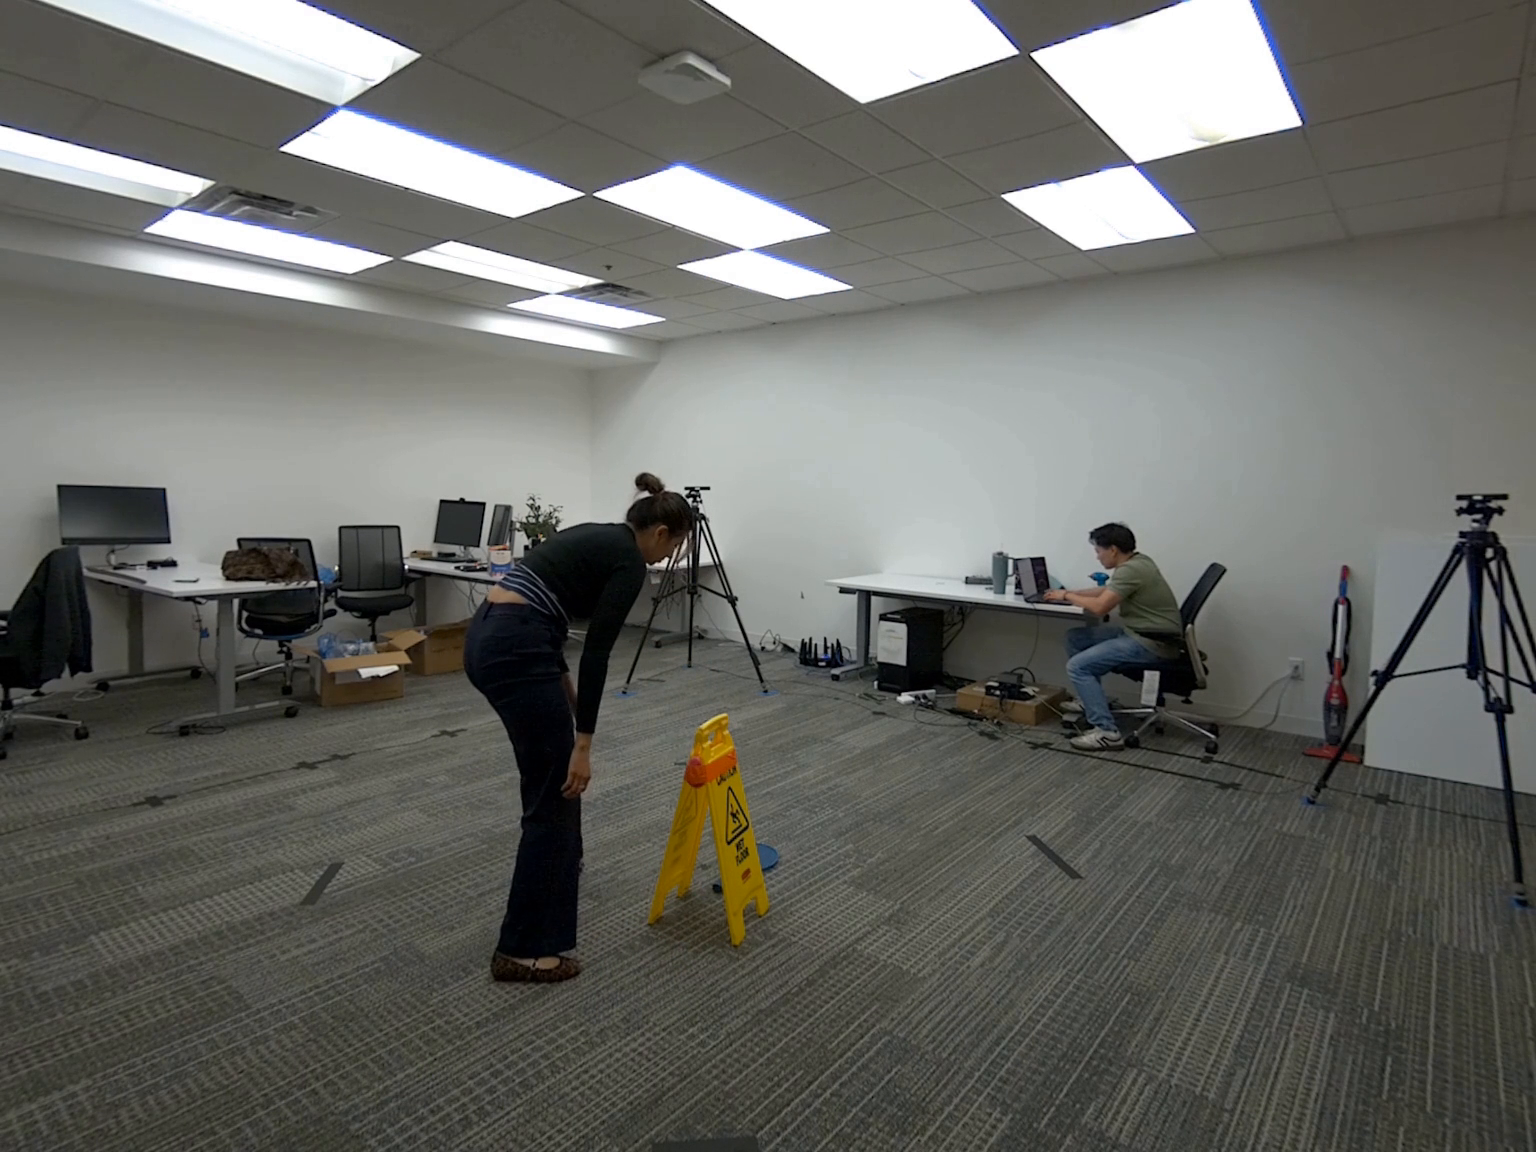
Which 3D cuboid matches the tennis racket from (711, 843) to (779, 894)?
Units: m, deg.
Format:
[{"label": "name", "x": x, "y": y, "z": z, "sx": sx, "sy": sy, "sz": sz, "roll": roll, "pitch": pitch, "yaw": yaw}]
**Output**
[{"label": "tennis racket", "x": -0.107, "y": 1.046, "z": 3.106, "sx": 0.219, "sy": 0.032, "sz": 0.424, "roll": 3, "pitch": 4, "yaw": 21}]
